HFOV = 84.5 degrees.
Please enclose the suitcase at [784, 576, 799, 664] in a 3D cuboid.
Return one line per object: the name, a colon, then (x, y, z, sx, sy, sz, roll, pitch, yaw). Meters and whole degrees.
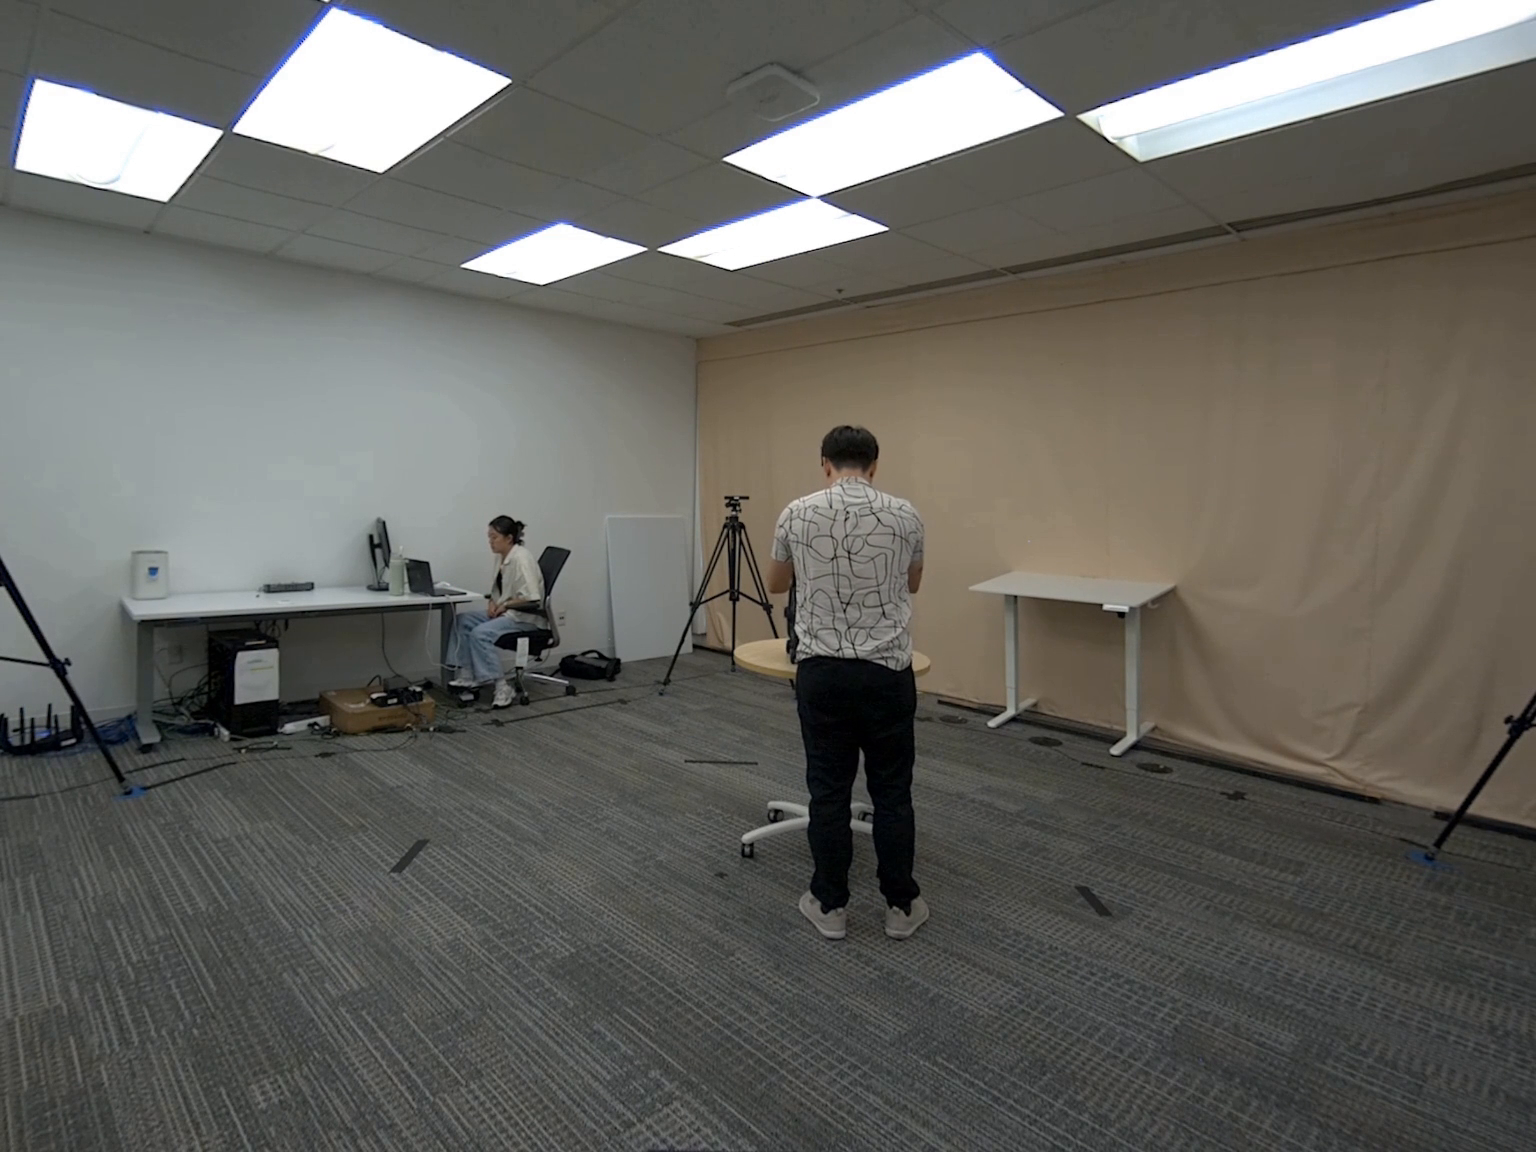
suitcase: (0.268, 0.044, 3.216, 0.376, 0.549, 0.248, 3, 1, 1)
